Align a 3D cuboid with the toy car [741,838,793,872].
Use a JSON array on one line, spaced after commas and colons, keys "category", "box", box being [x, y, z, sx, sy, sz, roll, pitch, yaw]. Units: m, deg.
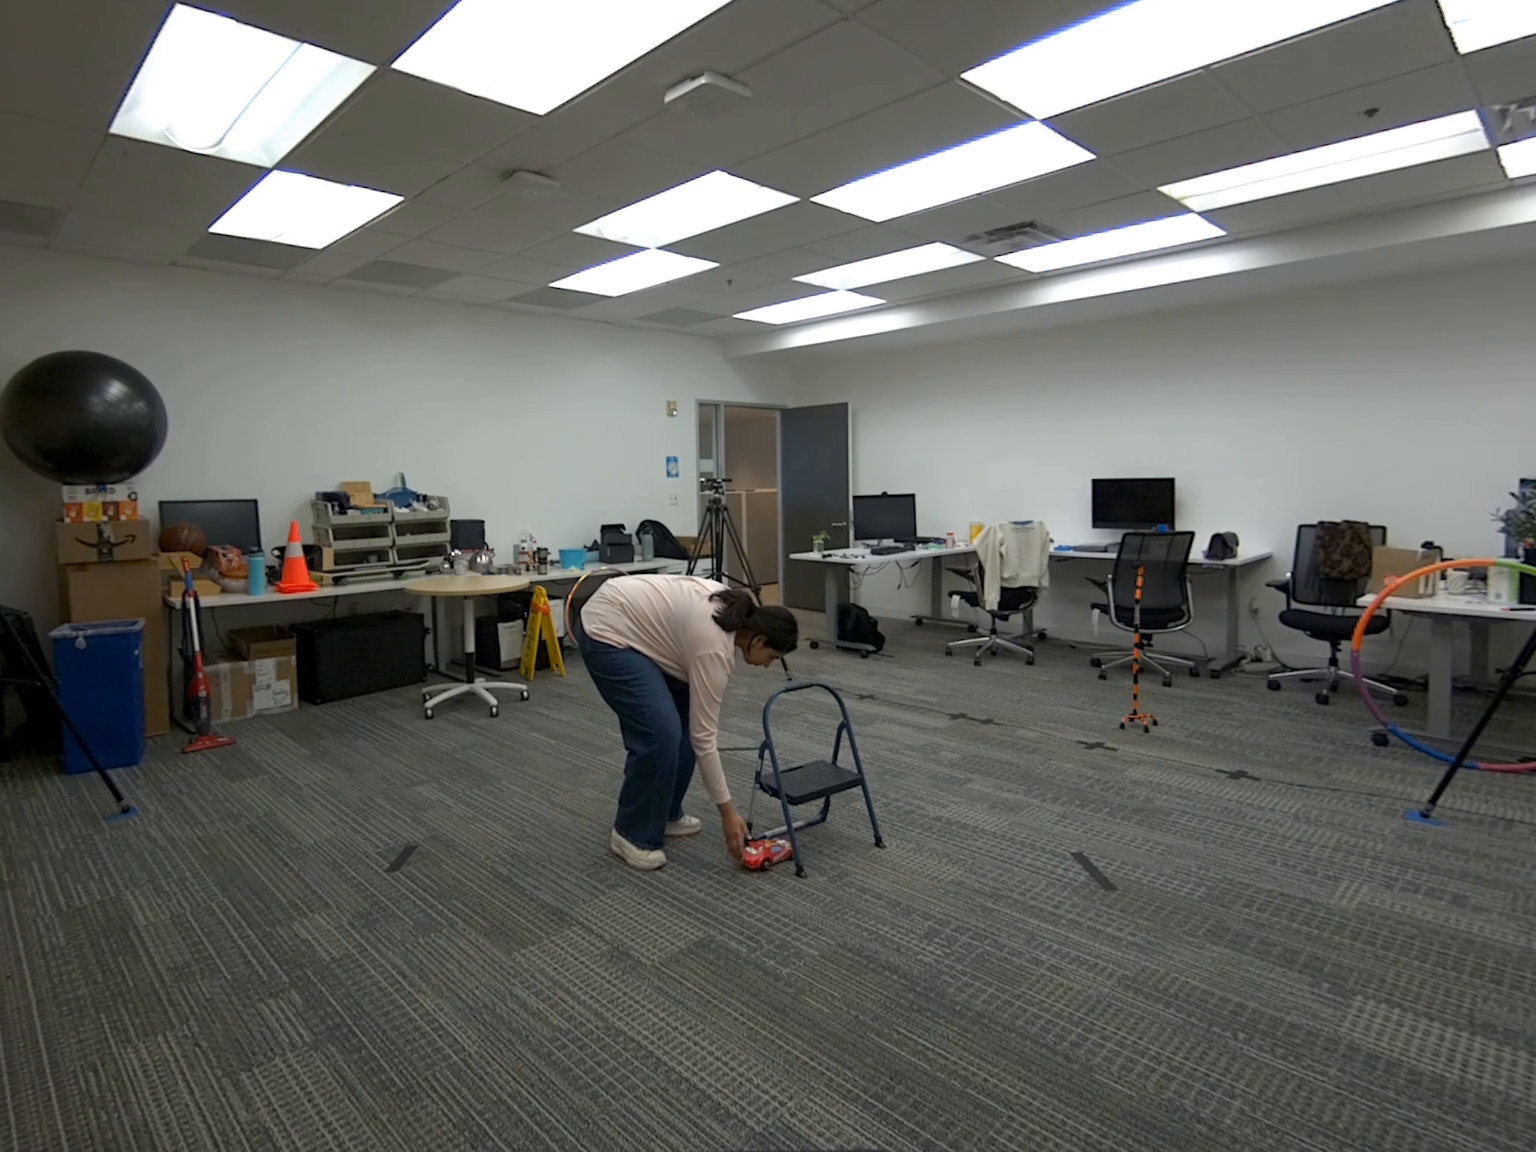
[{"category": "toy car", "box": [-0.003, 1.006, 3.116, 0.246, 0.083, 0.134, 9, -1, -39]}]
